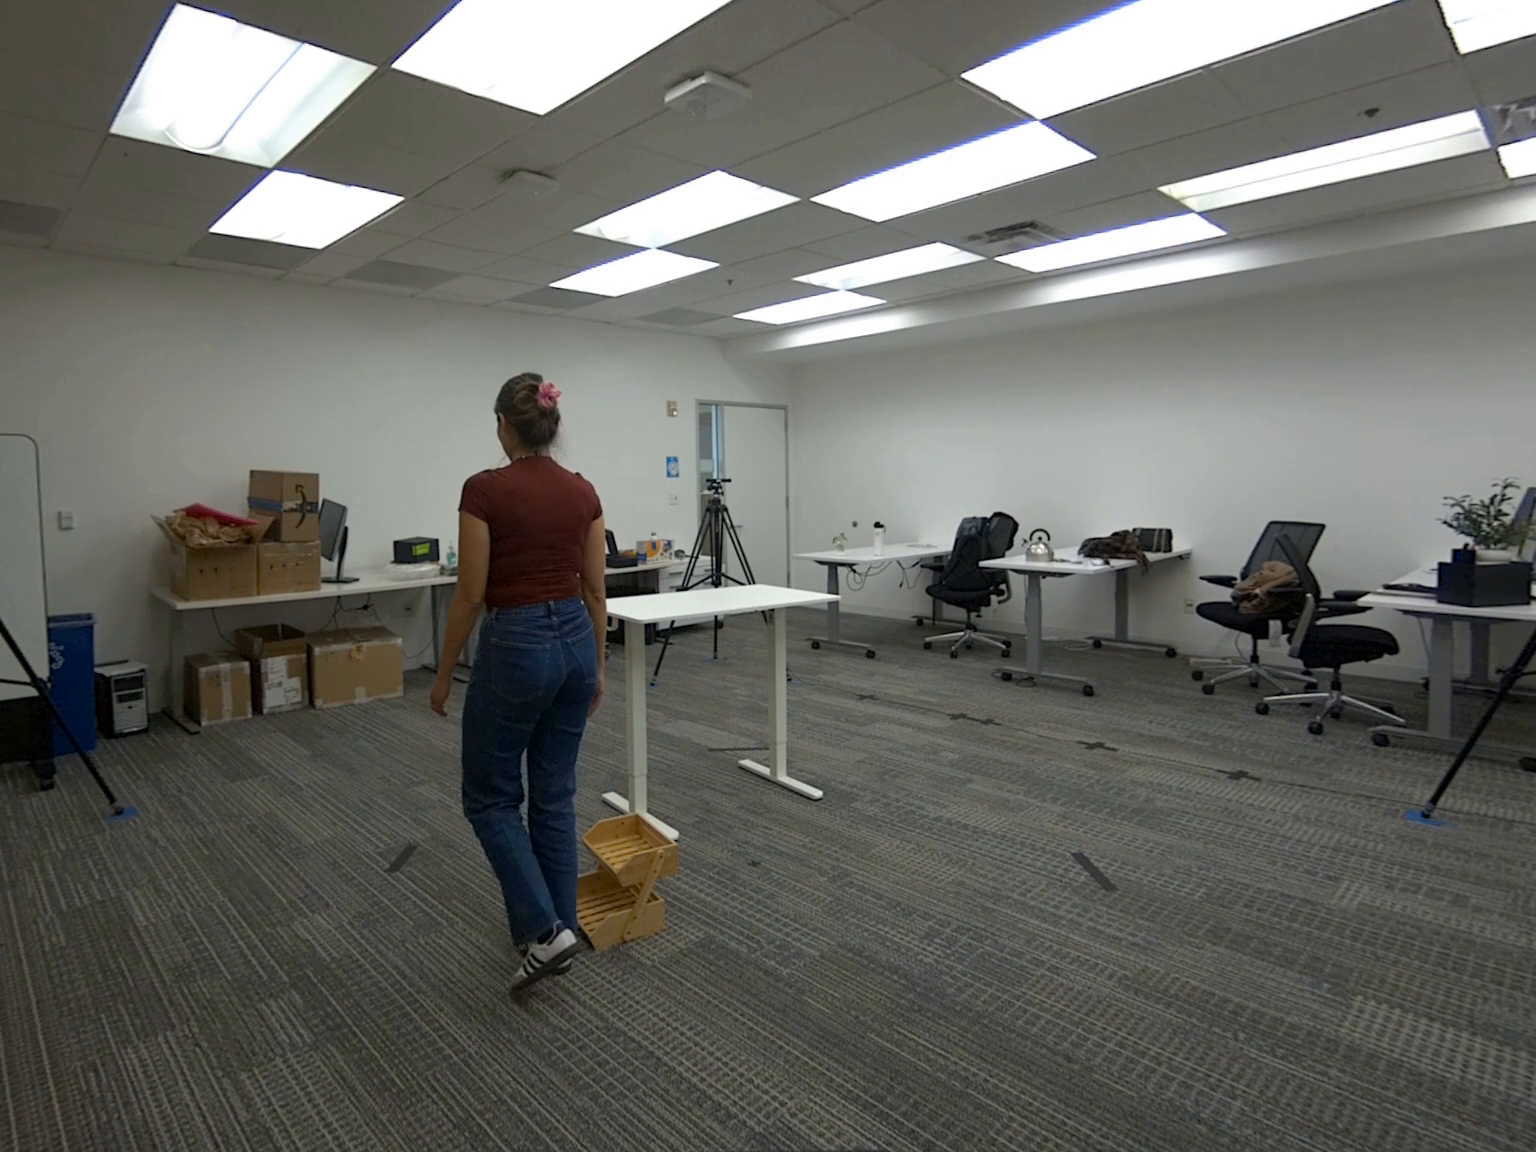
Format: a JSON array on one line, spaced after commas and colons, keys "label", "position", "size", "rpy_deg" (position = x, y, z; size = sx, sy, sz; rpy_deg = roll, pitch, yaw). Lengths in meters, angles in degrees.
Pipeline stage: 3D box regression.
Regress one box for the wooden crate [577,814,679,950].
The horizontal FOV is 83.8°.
[{"label": "wooden crate", "position": [-0.486, 0.963, 2.734], "size": [0.295, 0.272, 0.334], "rpy_deg": [-4, 6, -31]}]
